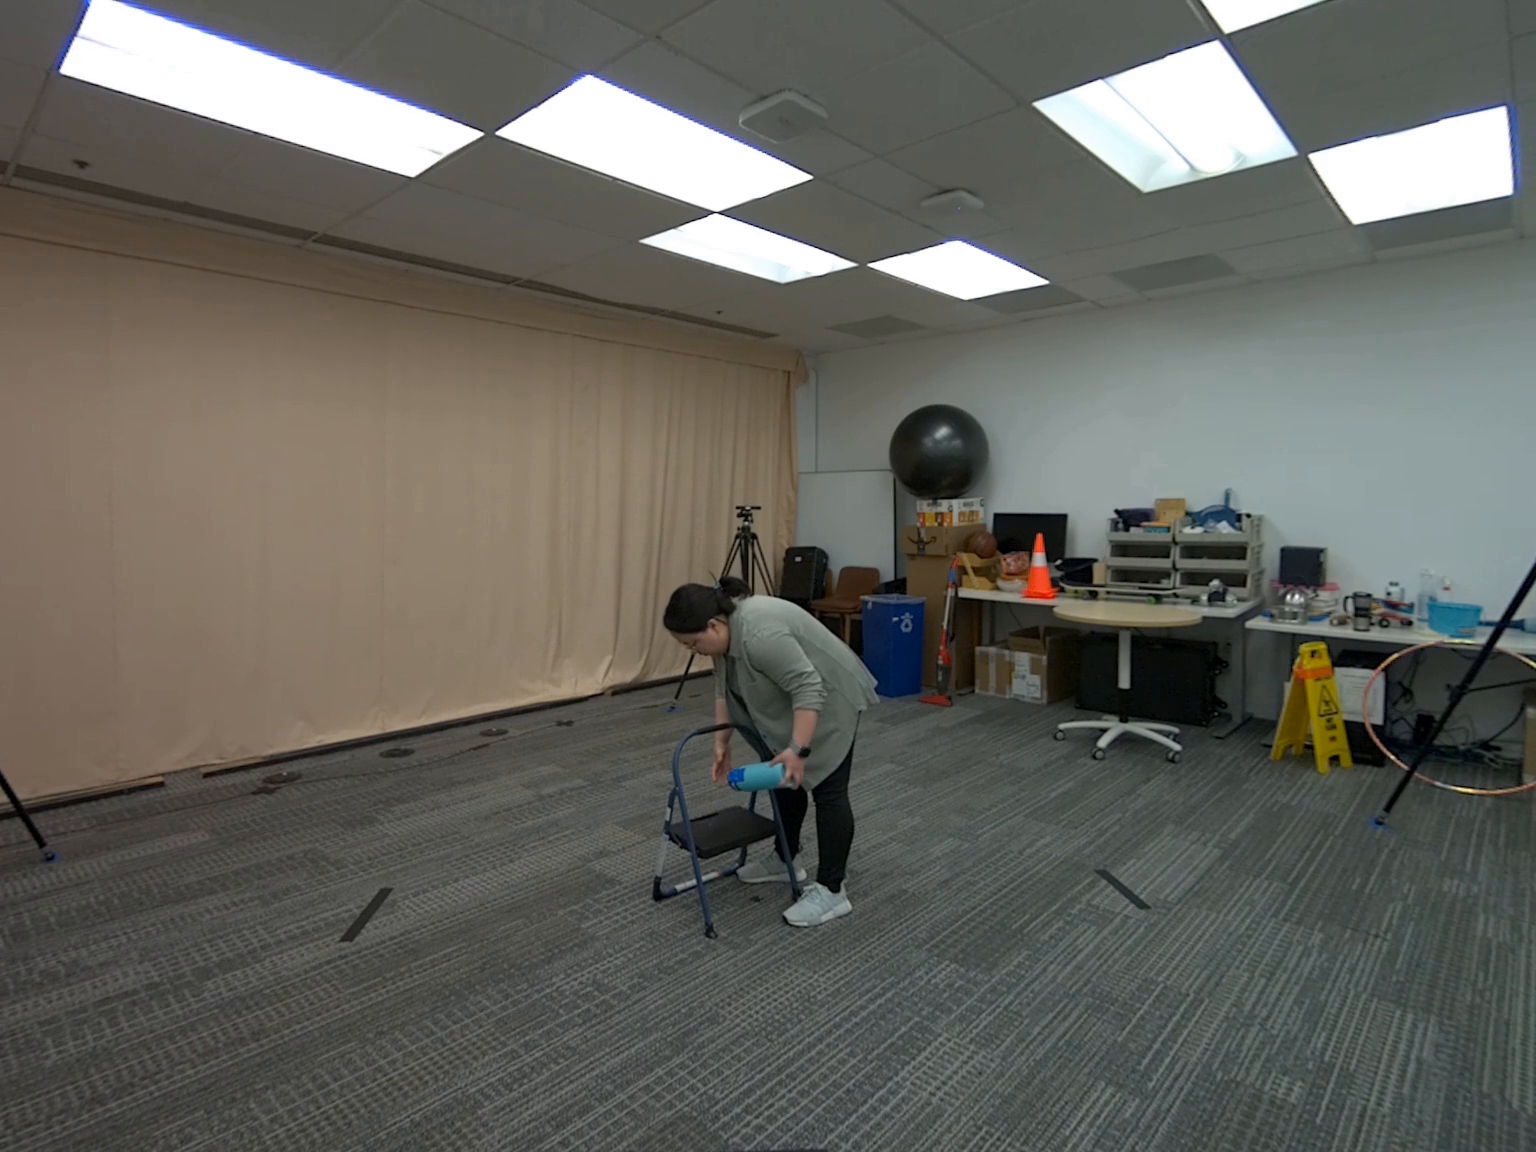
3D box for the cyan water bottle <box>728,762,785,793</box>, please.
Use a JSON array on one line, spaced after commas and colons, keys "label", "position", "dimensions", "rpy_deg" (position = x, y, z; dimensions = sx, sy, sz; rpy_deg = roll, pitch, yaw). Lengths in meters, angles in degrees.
[{"label": "cyan water bottle", "position": [-0.028, 0.672, 2.845], "dimensions": [0.089, 0.093, 0.290], "rpy_deg": [-4, -12, -45]}]
